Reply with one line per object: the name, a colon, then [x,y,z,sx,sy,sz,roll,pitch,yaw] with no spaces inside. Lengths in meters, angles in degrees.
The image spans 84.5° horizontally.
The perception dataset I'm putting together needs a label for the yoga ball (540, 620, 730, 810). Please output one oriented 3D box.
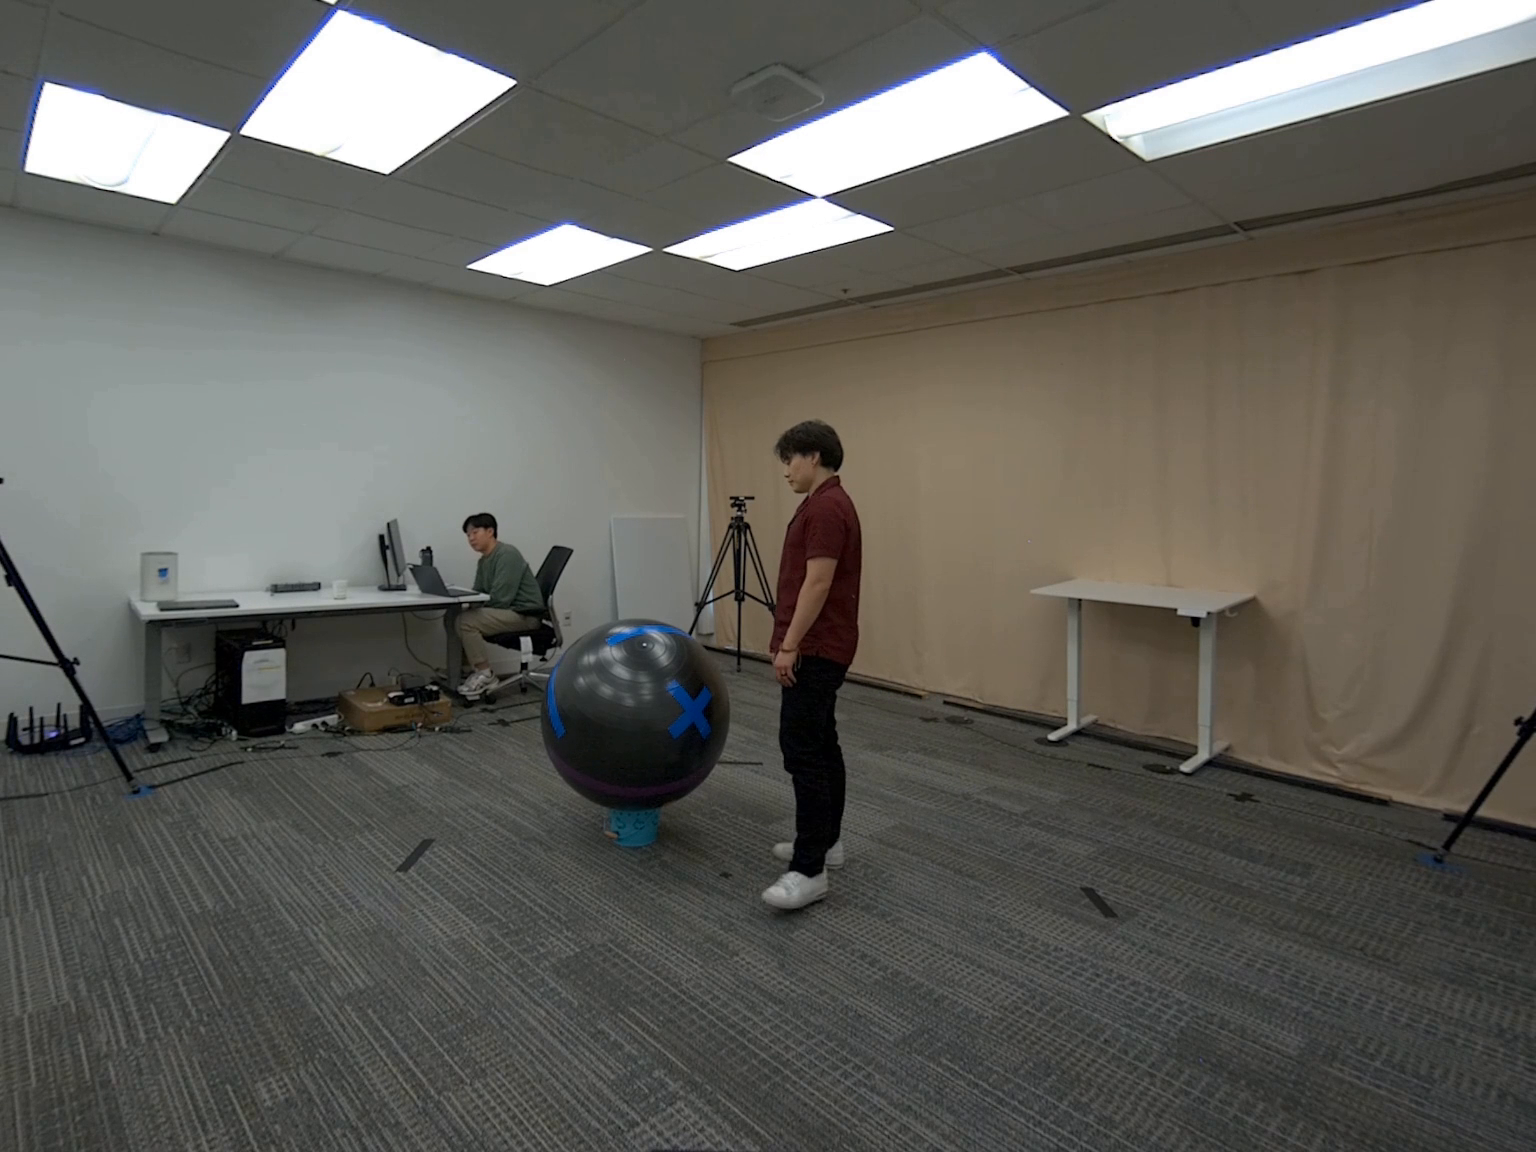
yoga ball: [-0.535,0.555,3.405,0.757,0.756,0.761,1,4,-1]
